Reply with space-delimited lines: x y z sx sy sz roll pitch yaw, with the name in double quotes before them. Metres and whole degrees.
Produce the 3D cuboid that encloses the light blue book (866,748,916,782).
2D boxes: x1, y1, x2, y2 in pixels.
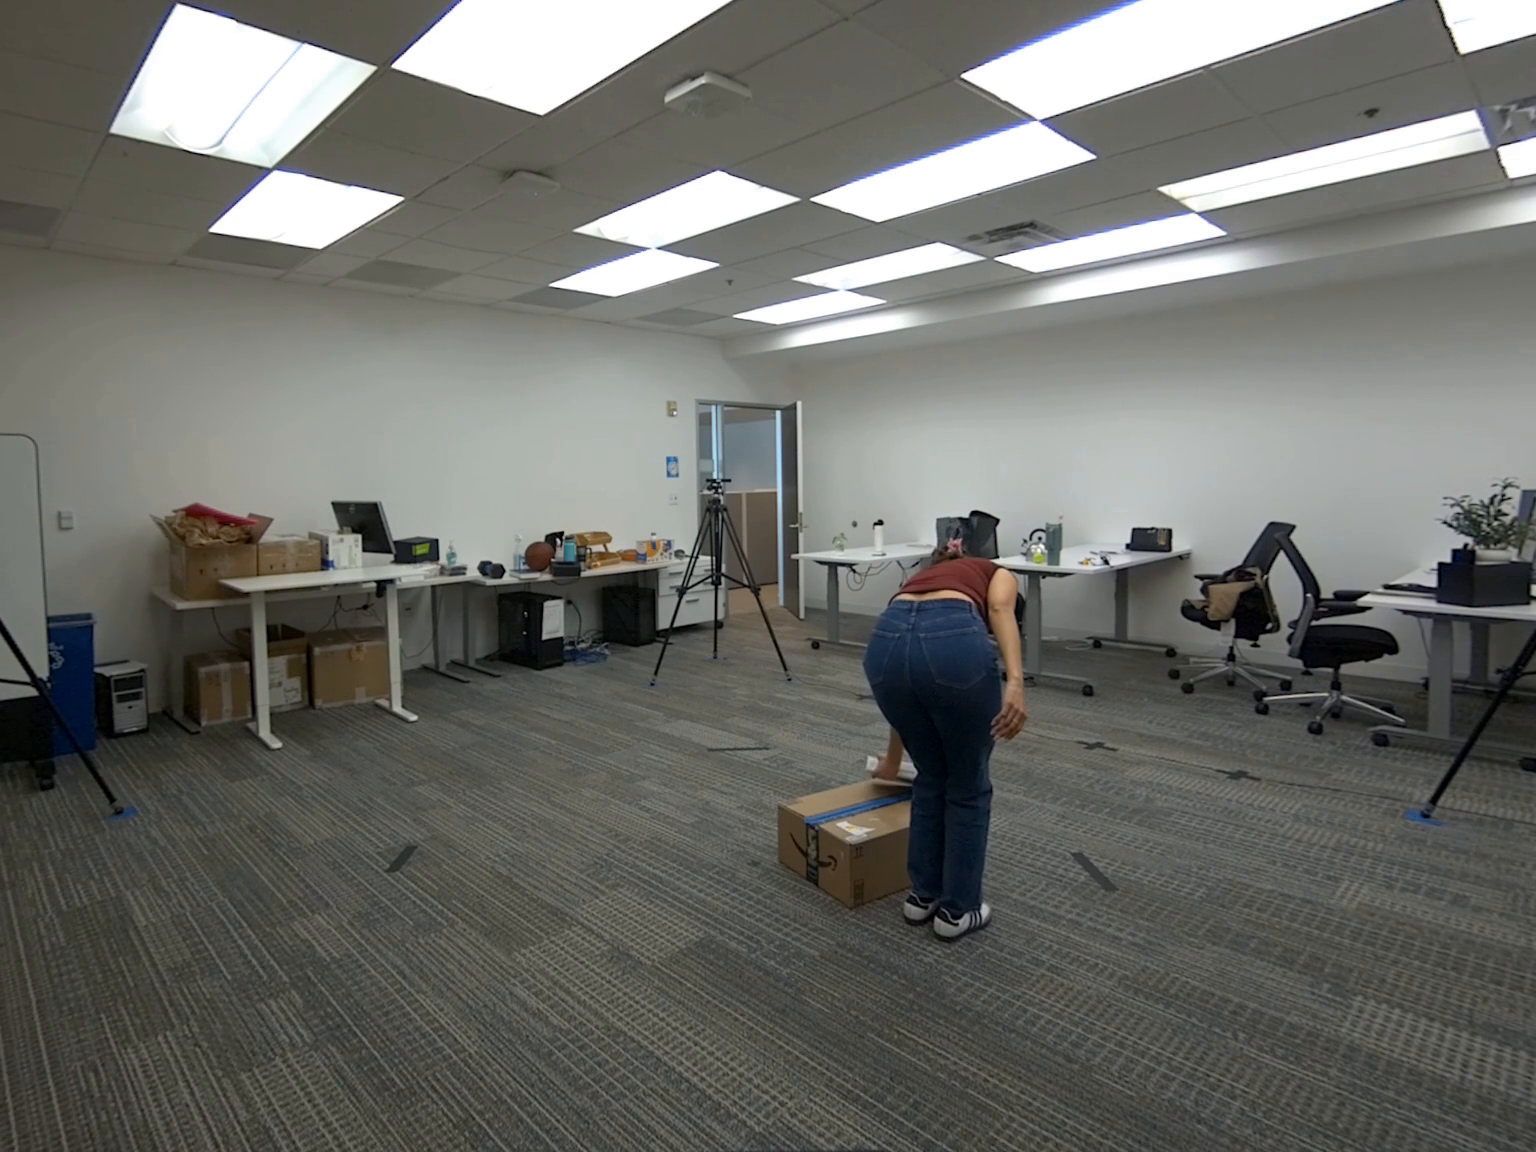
"light blue book" 0.521 0.742 3.210 0.265 0.060 0.186 7 -17 16
